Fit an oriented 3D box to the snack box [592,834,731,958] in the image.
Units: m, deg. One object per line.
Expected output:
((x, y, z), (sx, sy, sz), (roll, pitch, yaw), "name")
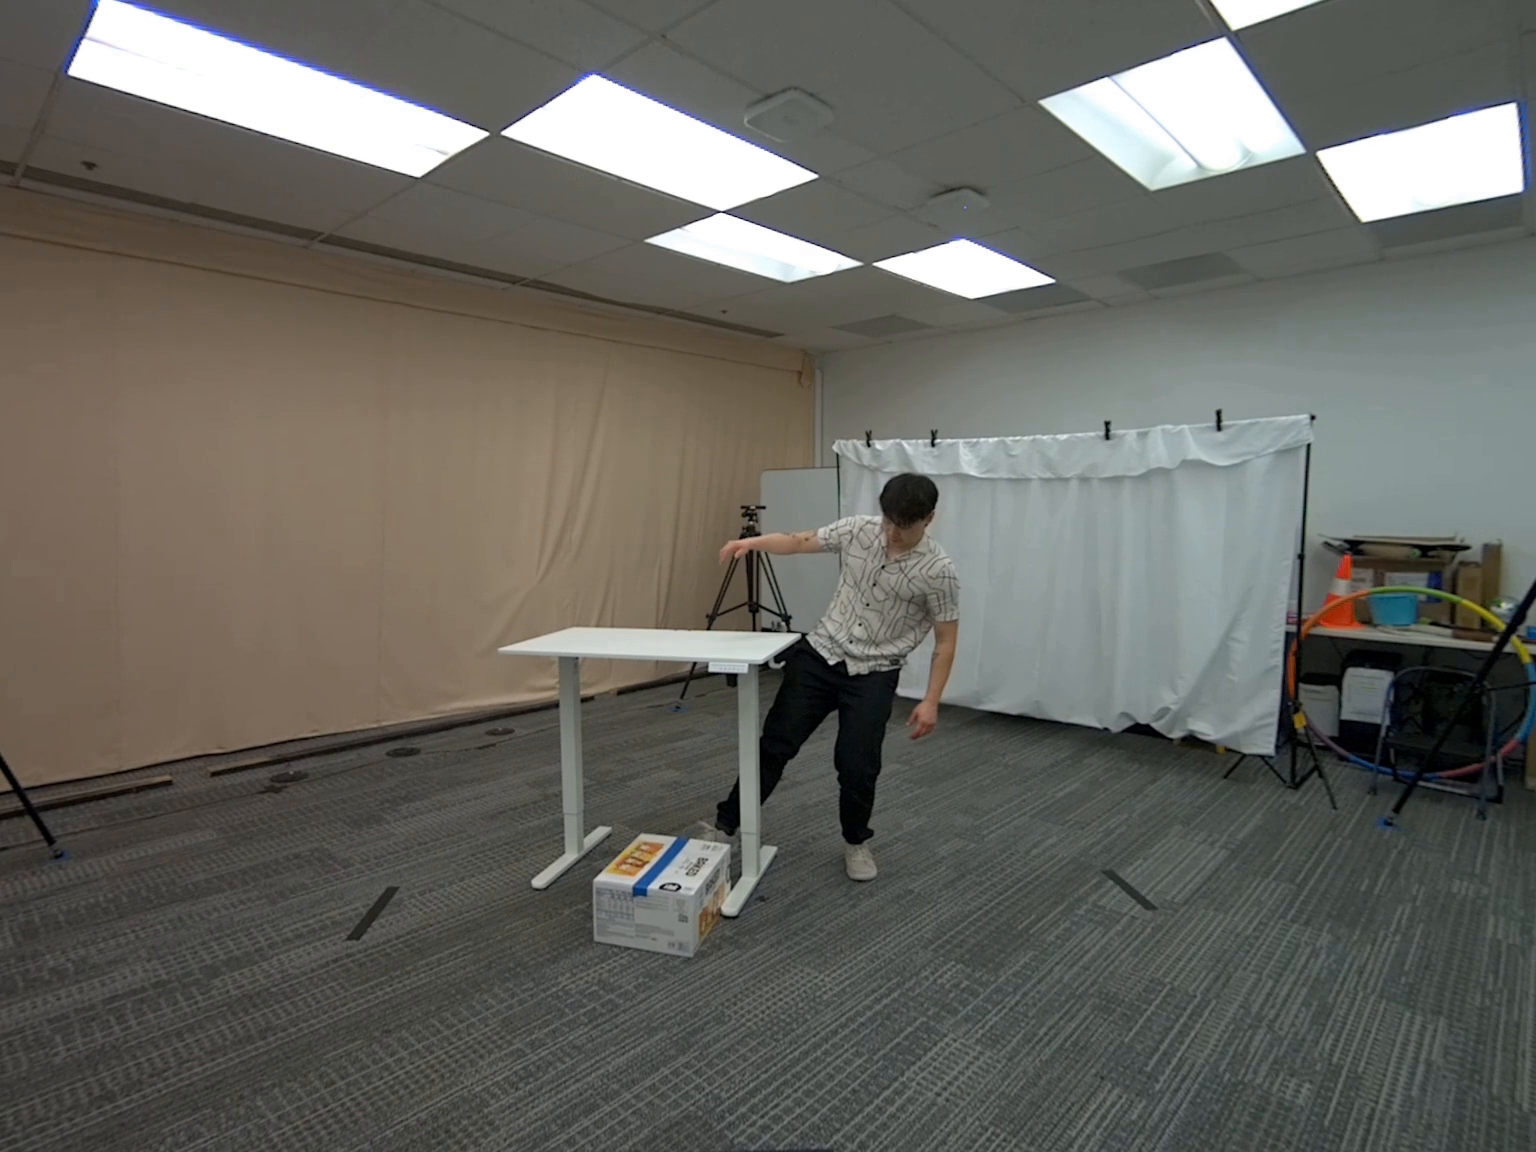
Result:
((-0.343, 1.056, 2.819), (0.346, 0.205, 0.399), (1, 4, 16), "snack box")
